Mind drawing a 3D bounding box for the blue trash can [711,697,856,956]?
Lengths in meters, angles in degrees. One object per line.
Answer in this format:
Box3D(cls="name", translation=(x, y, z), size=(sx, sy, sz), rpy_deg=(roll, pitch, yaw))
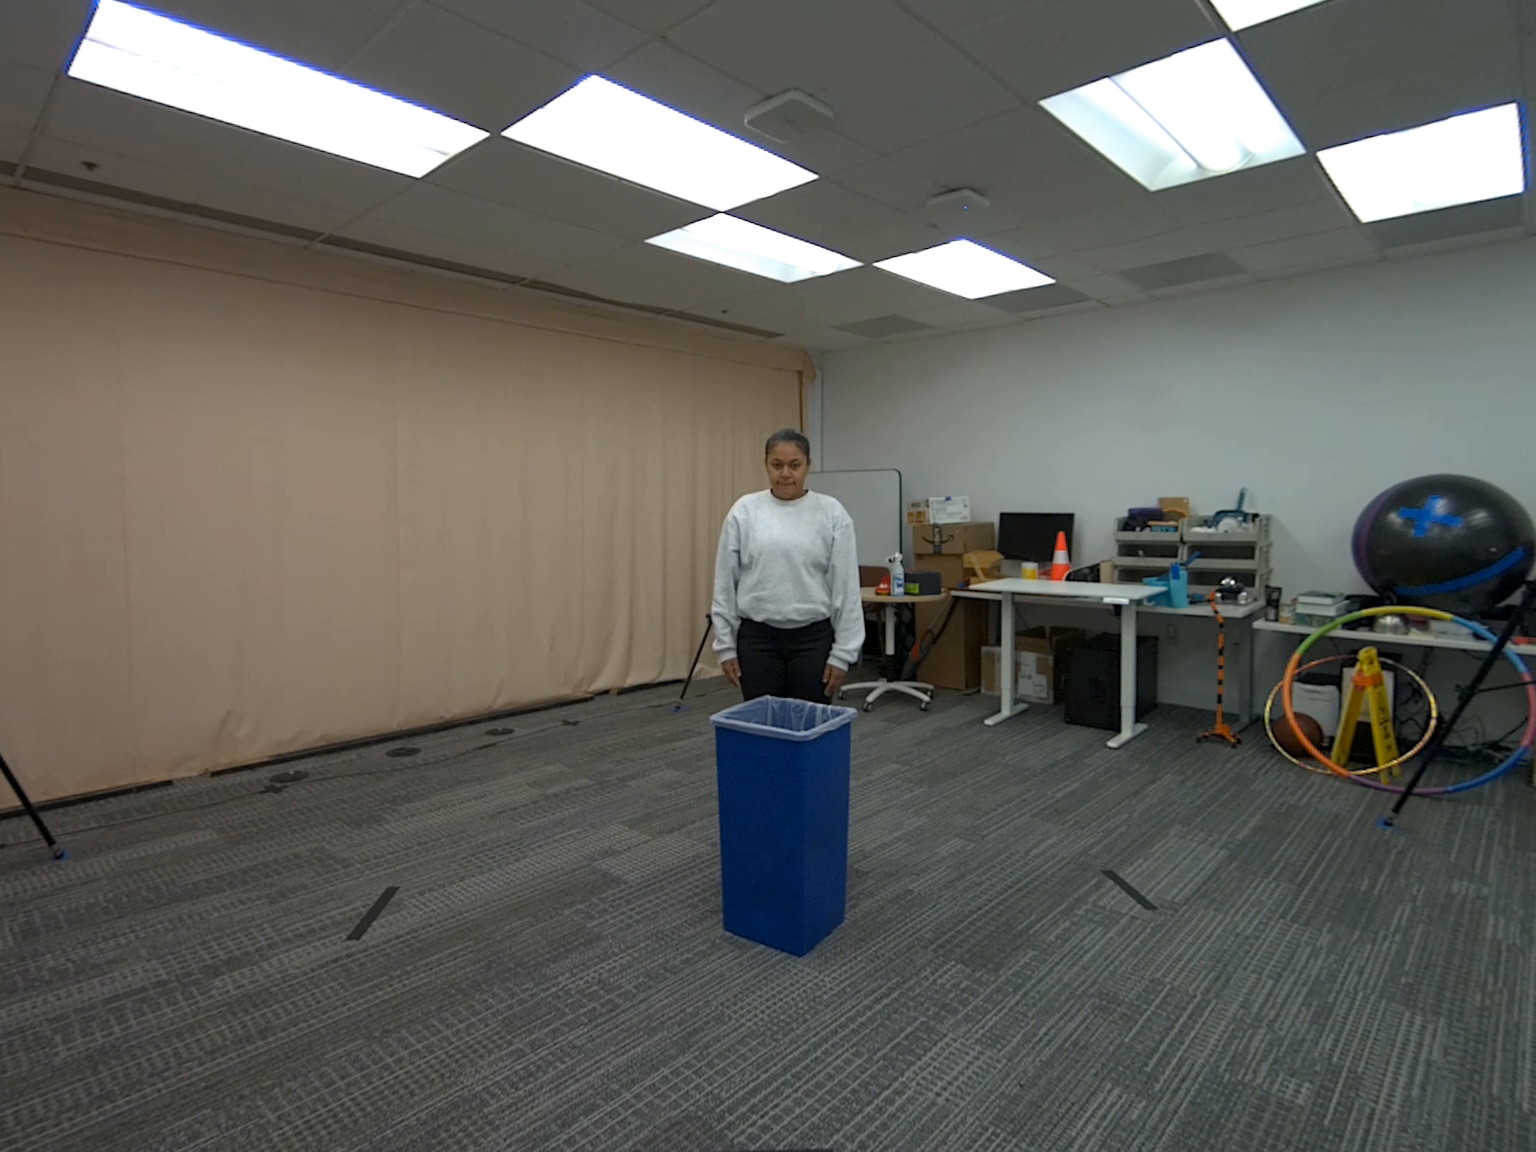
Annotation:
Box3D(cls="blue trash can", translation=(0.049, 0.800, 2.778), size=(0.385, 0.712, 0.367), rpy_deg=(3, 4, 32))
